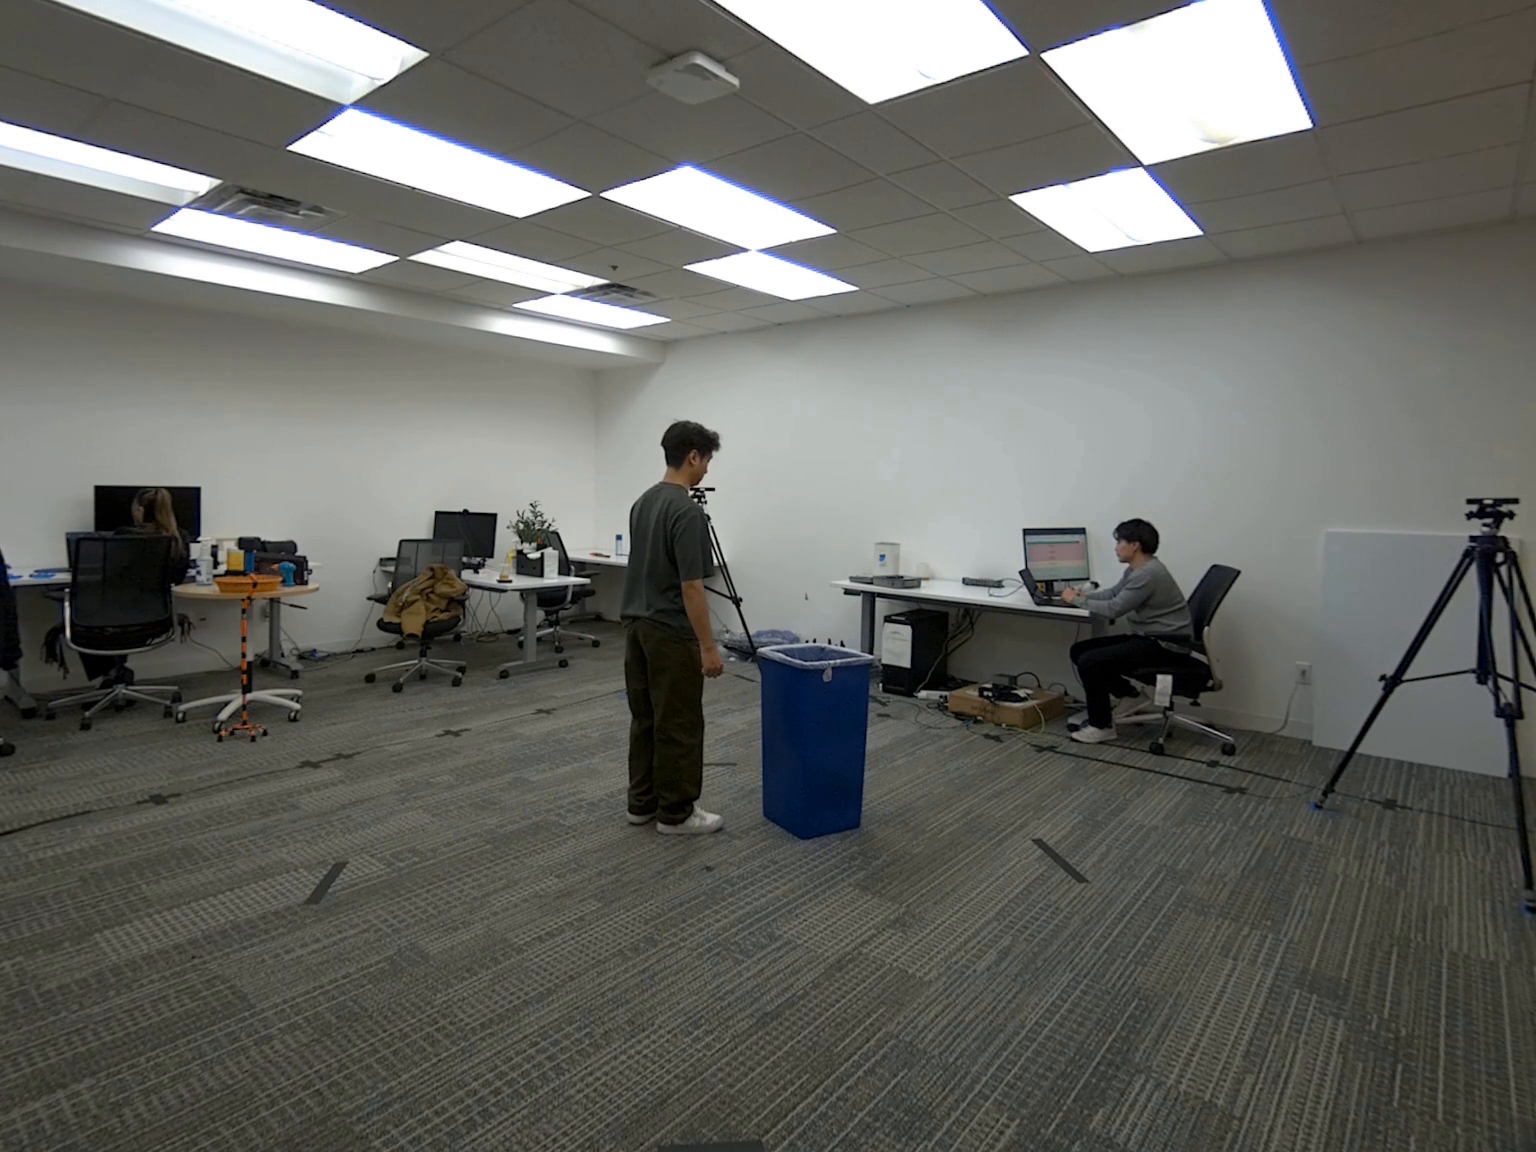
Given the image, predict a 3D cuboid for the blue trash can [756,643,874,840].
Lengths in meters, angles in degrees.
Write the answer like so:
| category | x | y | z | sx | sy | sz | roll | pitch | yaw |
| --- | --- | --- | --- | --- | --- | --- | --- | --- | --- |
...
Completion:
| category | x | y | z | sx | sy | sz | roll | pitch | yaw |
| --- | --- | --- | --- | --- | --- | --- | --- | --- | --- |
| blue trash can | 0.178 | 0.674 | 3.556 | 0.363 | 0.712 | 0.390 | 0 | 3 | -34 |
